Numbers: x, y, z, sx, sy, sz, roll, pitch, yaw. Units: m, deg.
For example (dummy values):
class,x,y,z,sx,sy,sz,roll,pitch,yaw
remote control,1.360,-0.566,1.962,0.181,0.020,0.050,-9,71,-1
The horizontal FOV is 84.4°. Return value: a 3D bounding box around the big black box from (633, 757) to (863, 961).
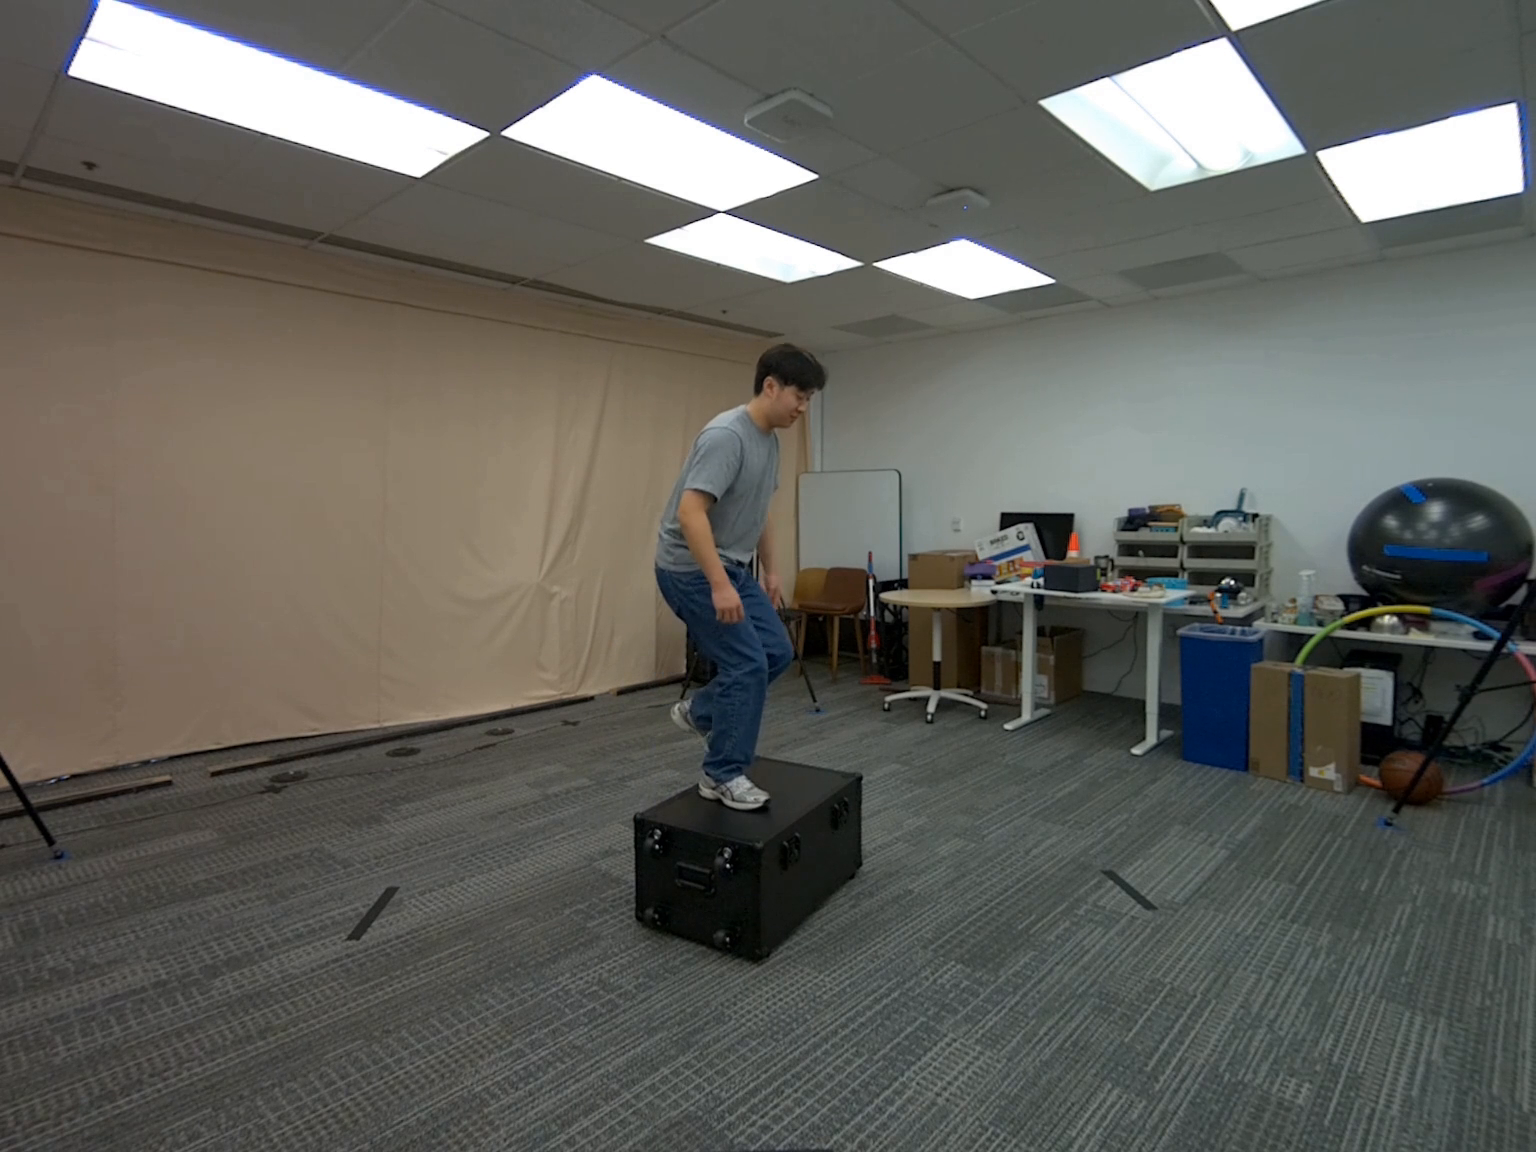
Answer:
class,x,y,z,sx,sy,sz,roll,pitch,yaw
big black box,-0.059,0.955,2.954,0.536,0.395,0.838,2,5,30
